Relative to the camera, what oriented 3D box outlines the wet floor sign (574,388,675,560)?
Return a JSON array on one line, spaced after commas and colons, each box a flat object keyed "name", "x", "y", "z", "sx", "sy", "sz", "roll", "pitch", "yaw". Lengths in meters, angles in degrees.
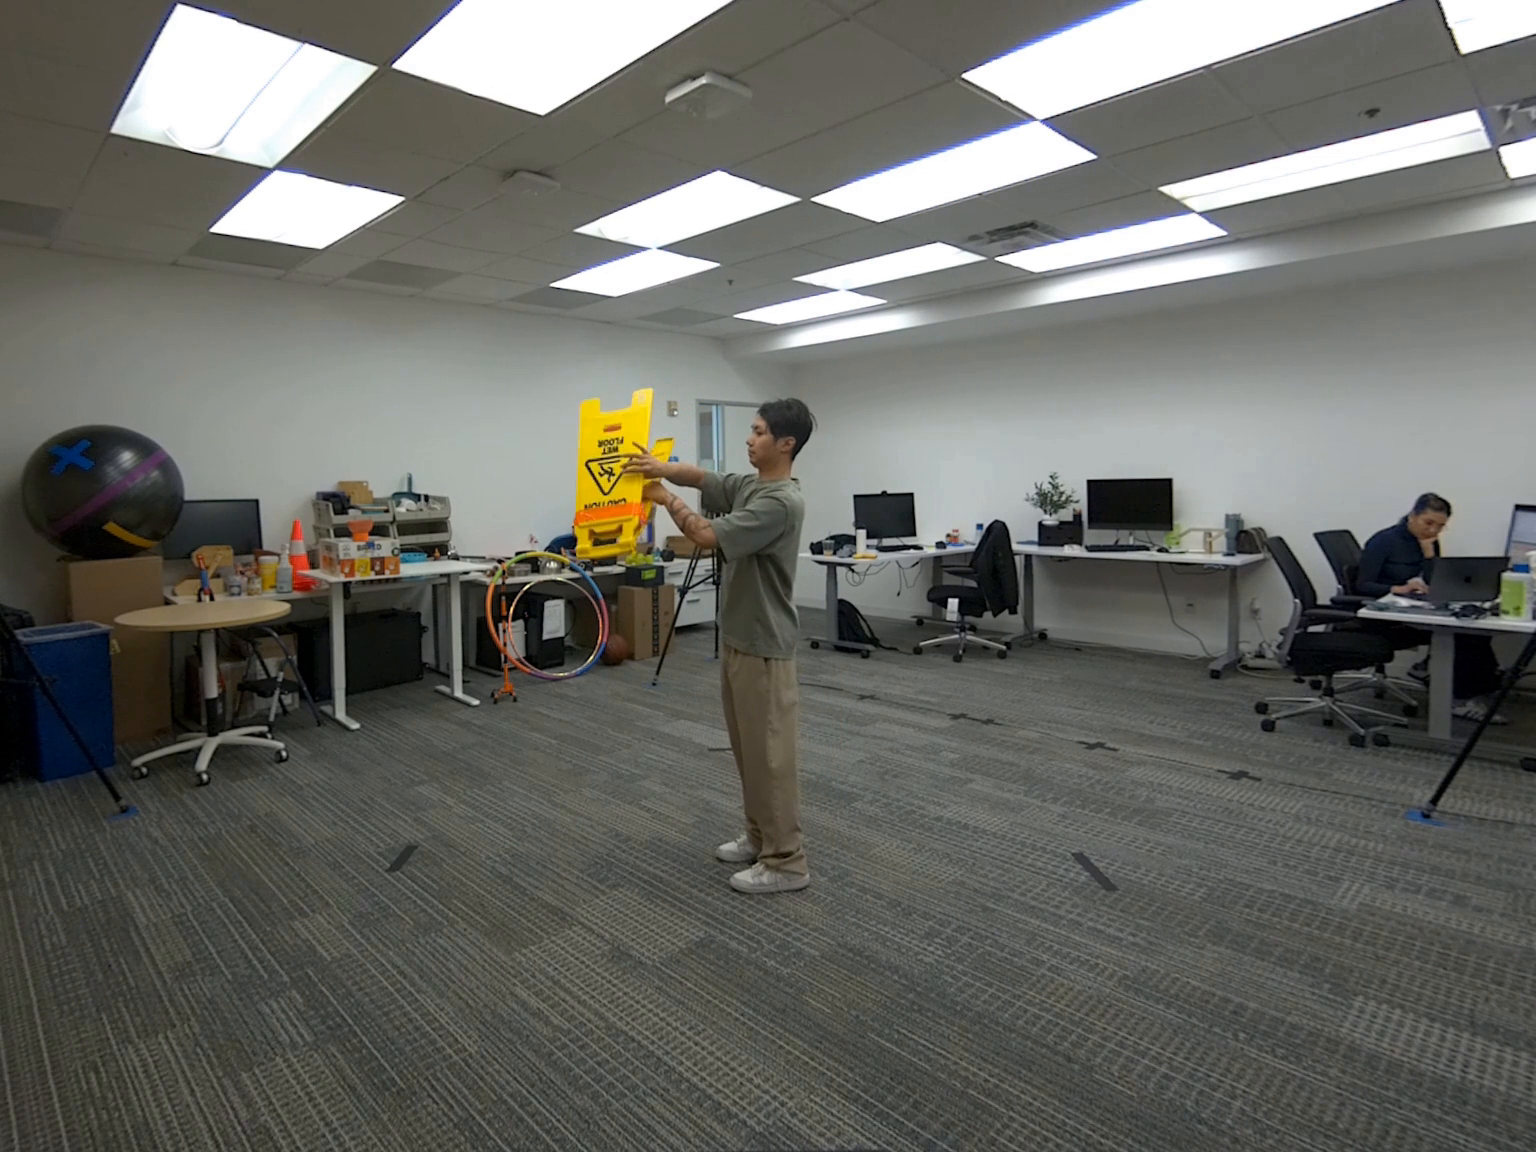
[{"name": "wet floor sign", "x": -0.514, "y": -0.313, "z": 2.944, "sx": 0.285, "sy": 0.662, "sz": 0.279, "roll": -8, "pitch": -40, "yaw": 13}]
